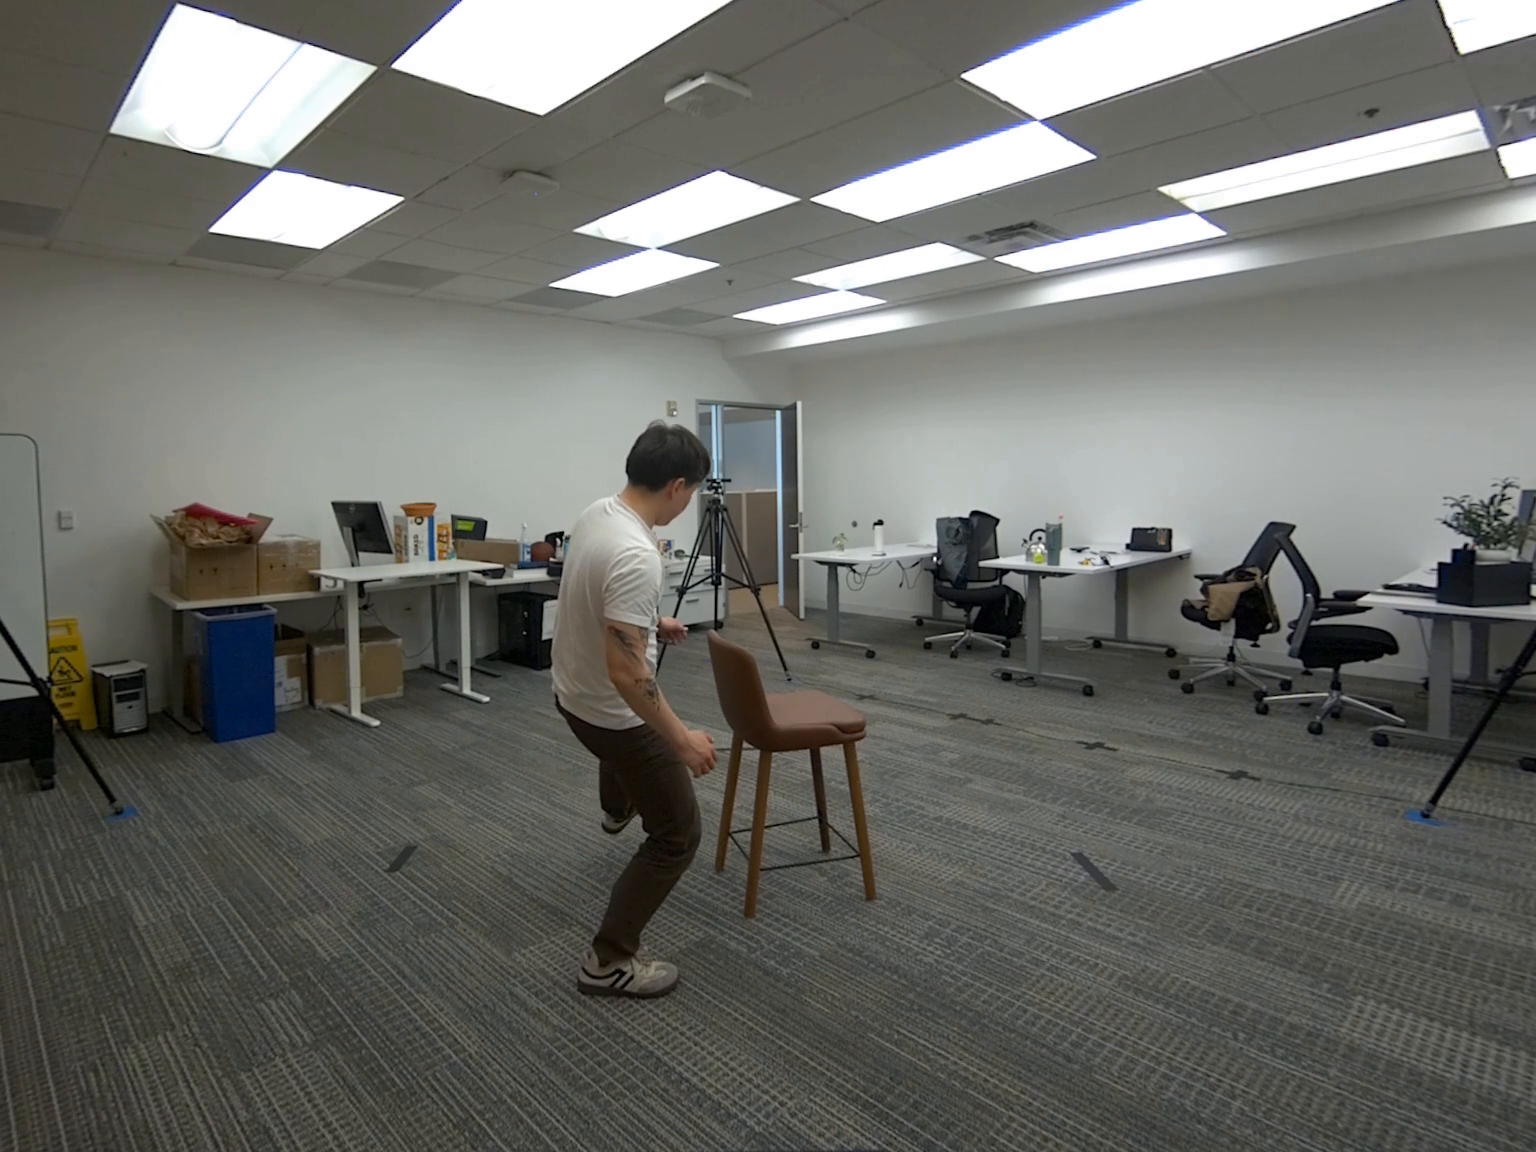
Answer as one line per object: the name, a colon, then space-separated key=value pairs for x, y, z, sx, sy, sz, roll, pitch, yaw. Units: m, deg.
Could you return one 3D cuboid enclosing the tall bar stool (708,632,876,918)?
tall bar stool: x=0.068 y=0.626 z=2.924 sx=0.460 sy=0.886 sz=0.465 roll=-5 pitch=5 yaw=-18
